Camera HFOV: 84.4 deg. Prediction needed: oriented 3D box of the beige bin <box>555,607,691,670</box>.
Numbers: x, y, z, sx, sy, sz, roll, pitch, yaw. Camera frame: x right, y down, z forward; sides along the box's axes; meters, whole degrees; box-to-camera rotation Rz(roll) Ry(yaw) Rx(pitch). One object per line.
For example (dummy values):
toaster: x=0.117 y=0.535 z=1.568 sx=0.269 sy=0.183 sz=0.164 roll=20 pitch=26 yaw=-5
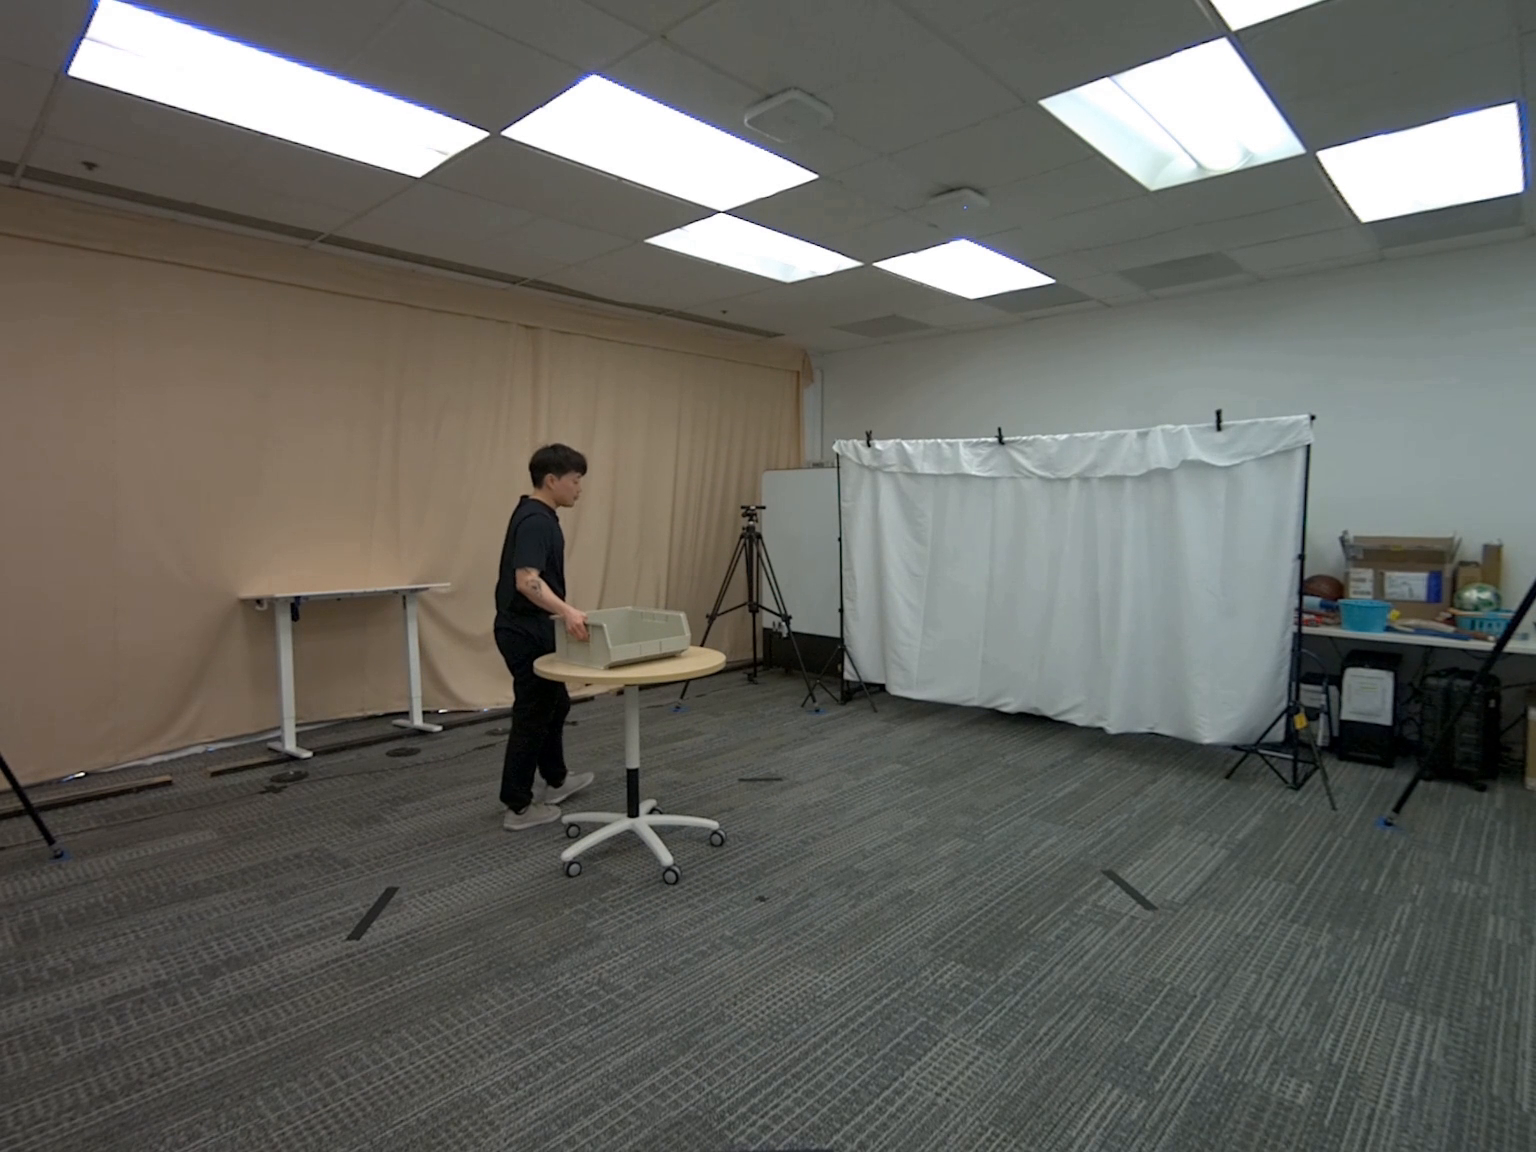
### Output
beige bin: x=-0.587 y=0.243 z=3.377 sx=0.390 sy=0.188 sz=0.409 roll=2 pitch=5 yaw=42
